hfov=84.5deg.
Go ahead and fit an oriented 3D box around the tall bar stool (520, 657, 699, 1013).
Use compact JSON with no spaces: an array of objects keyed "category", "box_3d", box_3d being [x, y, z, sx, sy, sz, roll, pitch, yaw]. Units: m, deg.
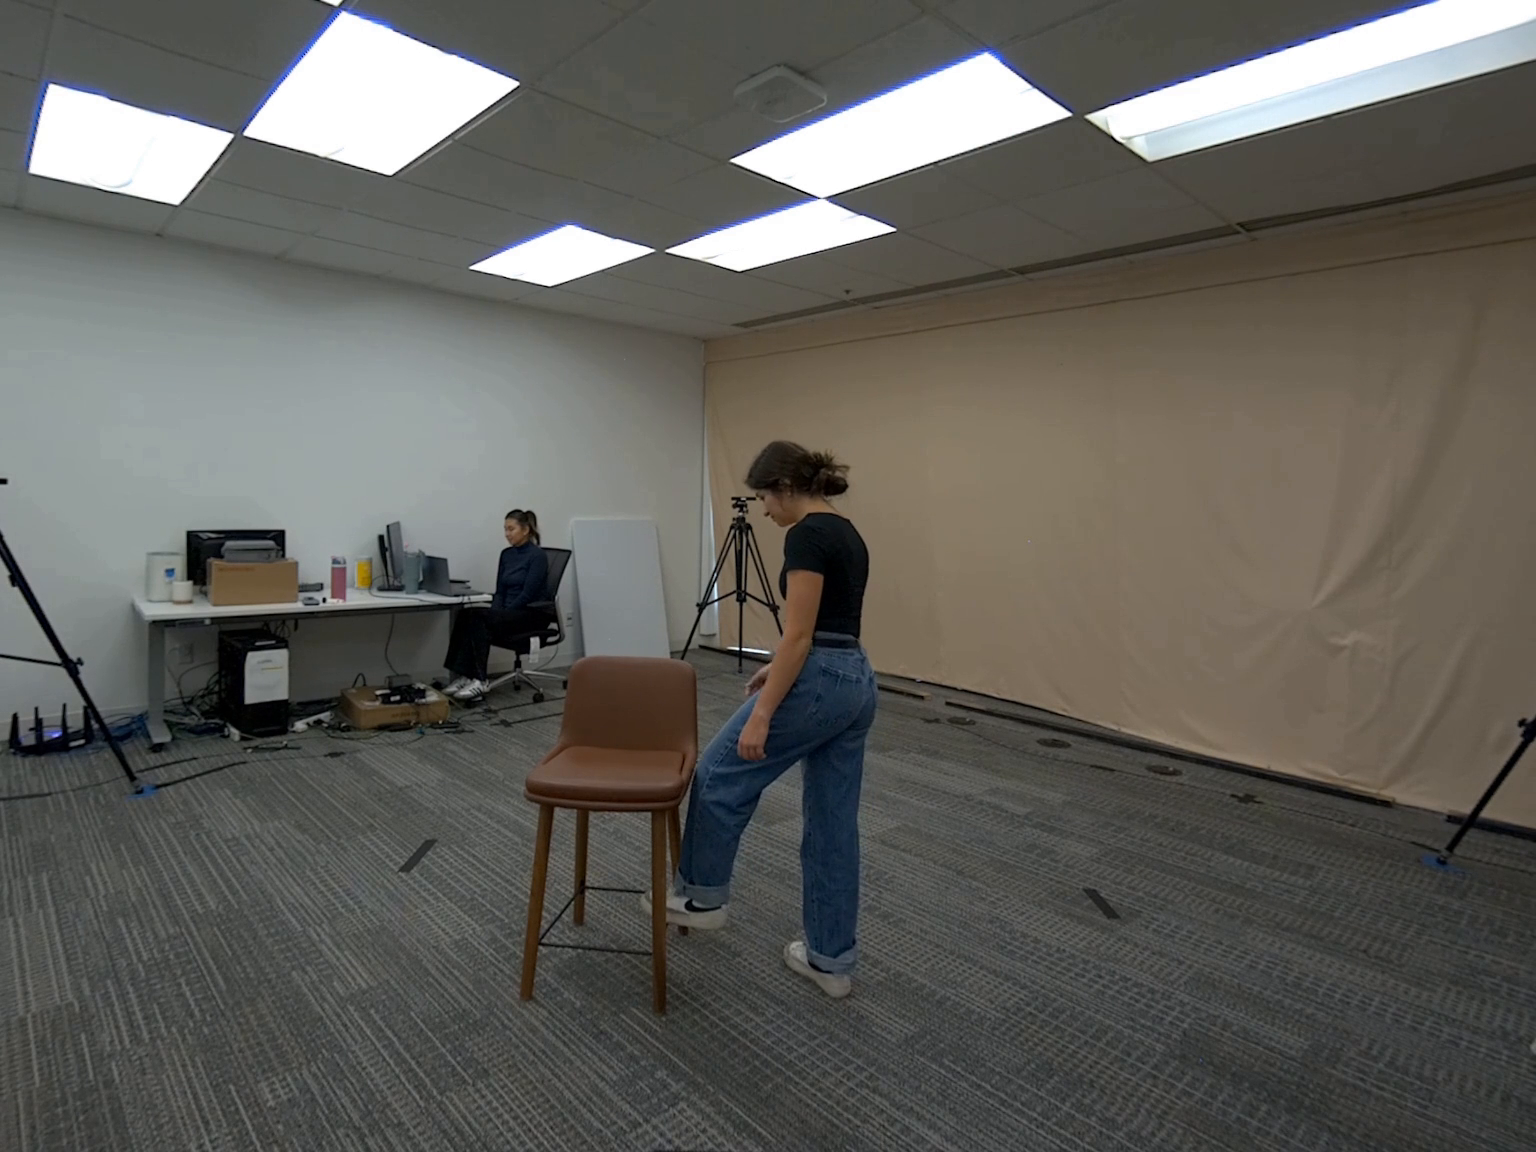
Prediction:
[{"category":"tall bar stool","box_3d":[-0.458,0.722,2.487,0.459,0.889,0.465,1,1,7]}]
